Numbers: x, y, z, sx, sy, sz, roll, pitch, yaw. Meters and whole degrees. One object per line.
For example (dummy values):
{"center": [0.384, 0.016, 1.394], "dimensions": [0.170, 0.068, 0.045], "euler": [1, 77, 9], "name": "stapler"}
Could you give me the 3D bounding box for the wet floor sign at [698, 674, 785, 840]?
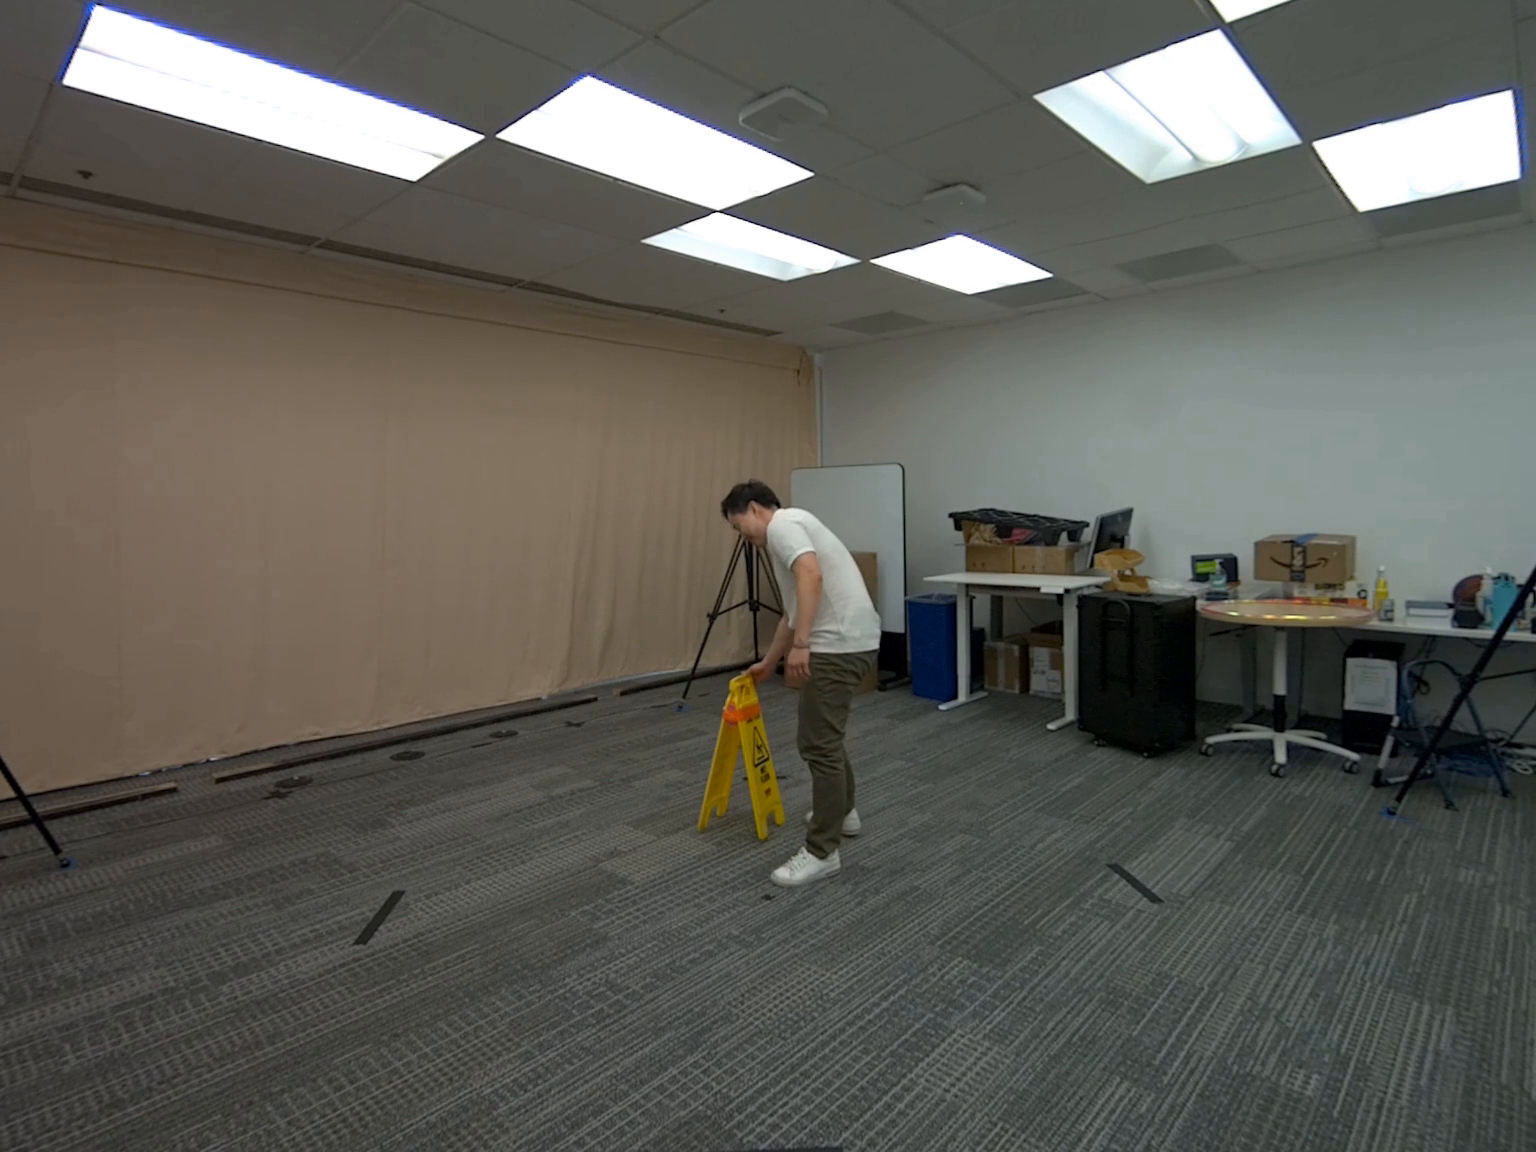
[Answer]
{"center": [-0.115, 0.757, 3.647], "dimensions": [0.297, 0.646, 0.275], "euler": [0, -1, 23], "name": "wet floor sign"}
